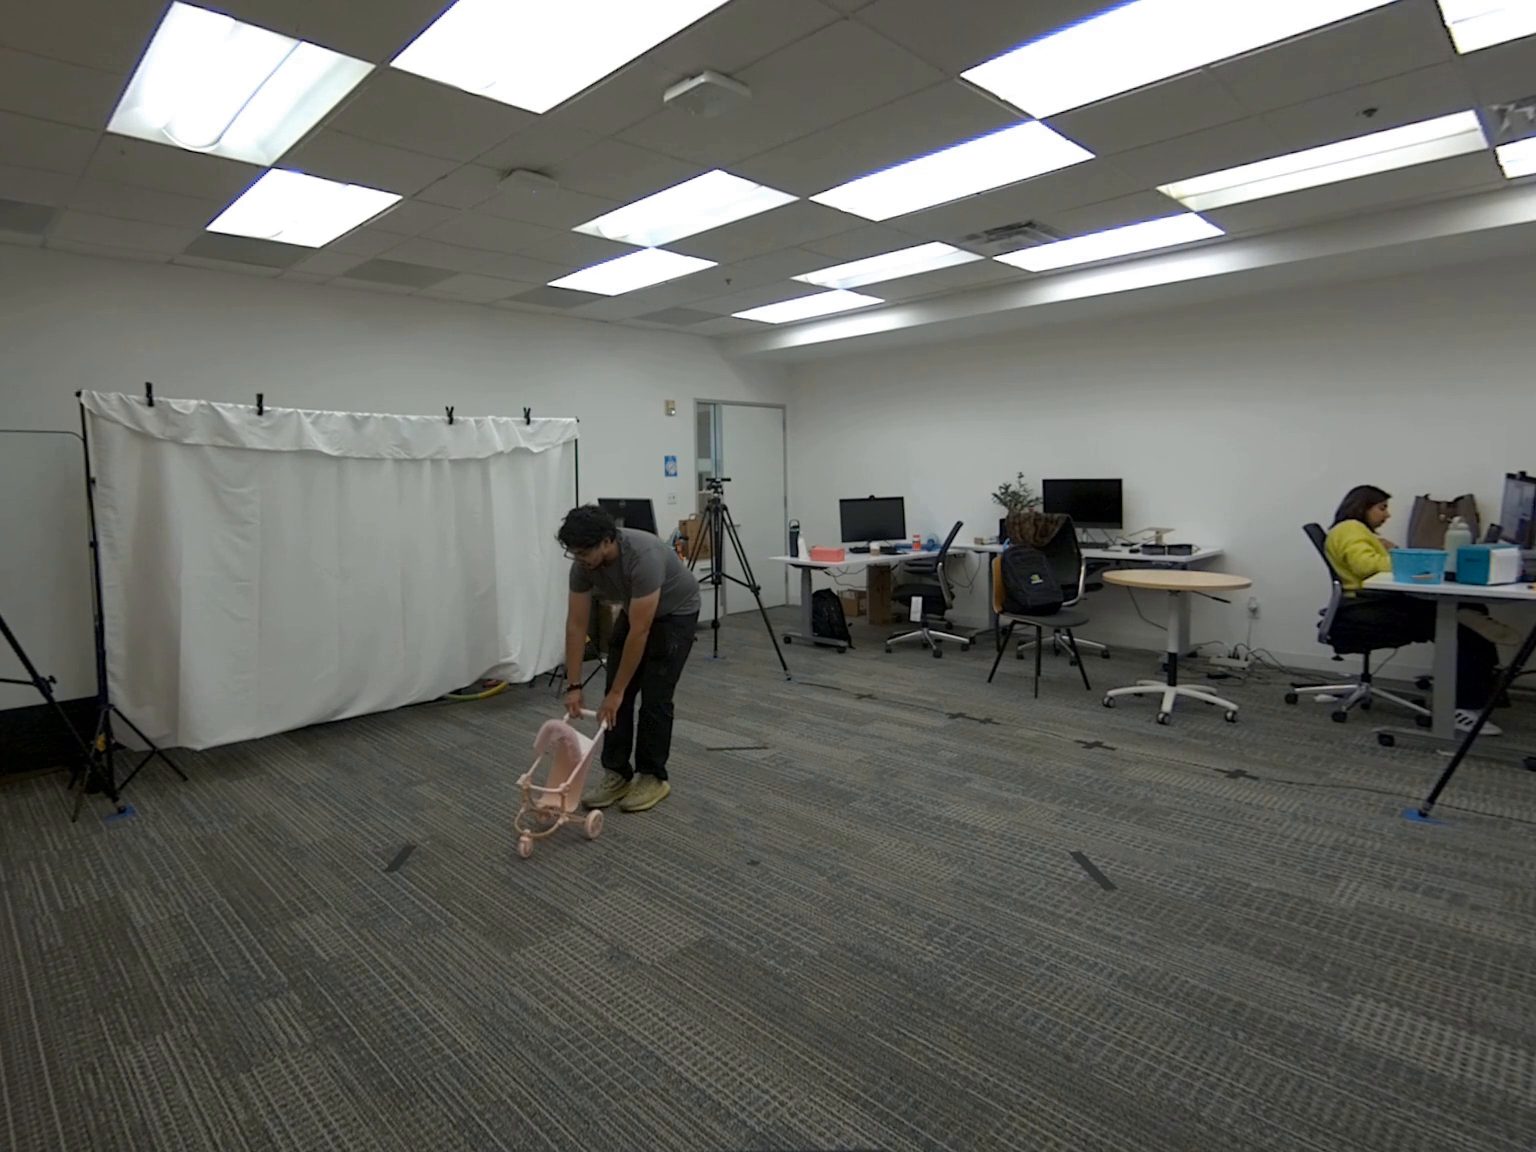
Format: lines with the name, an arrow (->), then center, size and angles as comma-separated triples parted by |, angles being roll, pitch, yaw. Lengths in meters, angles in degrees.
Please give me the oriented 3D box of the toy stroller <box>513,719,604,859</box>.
toy stroller -> -0.823, 0.801, 3.327 | 0.289, 0.537, 0.330 | 4, -6, 31
